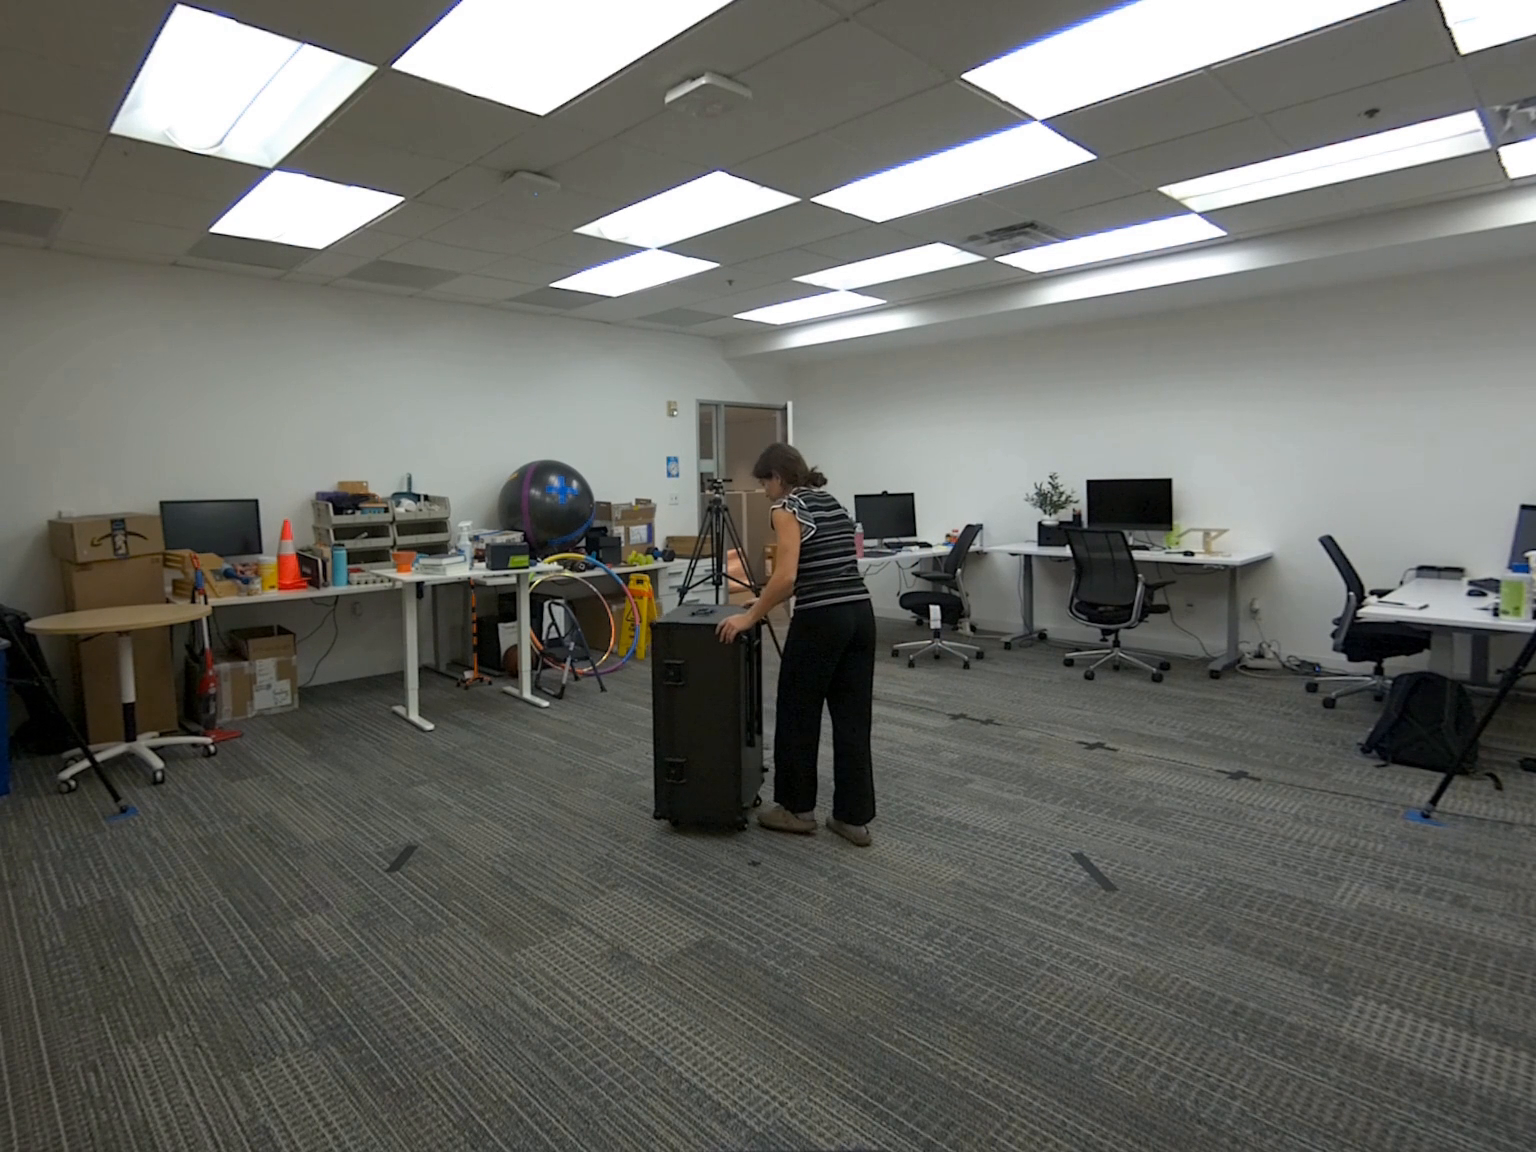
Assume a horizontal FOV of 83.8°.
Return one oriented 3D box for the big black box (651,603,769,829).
[{"bbox_3d":[-0.222,0.574,3.523,0.401,0.858,0.517,0,5,11],"label":"big black box"}]
